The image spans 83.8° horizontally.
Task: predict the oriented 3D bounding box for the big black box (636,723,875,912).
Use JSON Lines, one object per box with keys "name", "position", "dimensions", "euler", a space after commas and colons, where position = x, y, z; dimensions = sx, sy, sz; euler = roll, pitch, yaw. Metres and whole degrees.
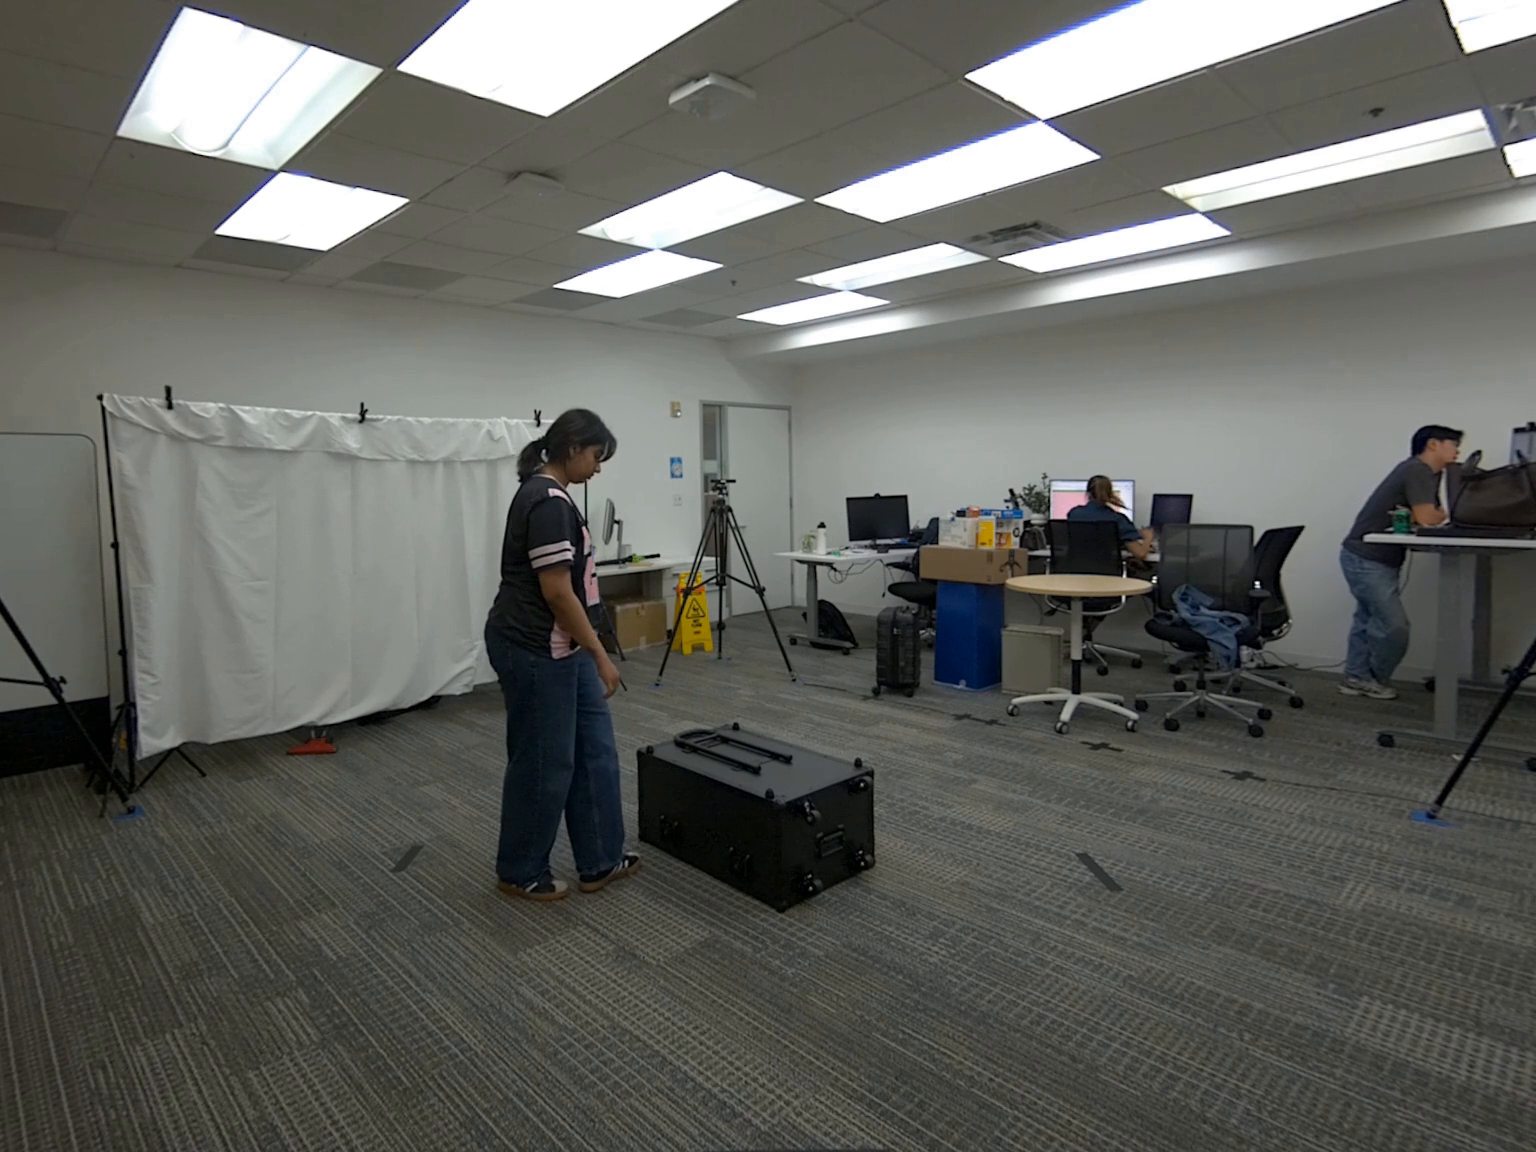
{"name": "big black box", "position": [-0.030, 0.855, 3.170], "dimensions": [0.509, 0.384, 0.895], "euler": [-5, 7, -43]}
